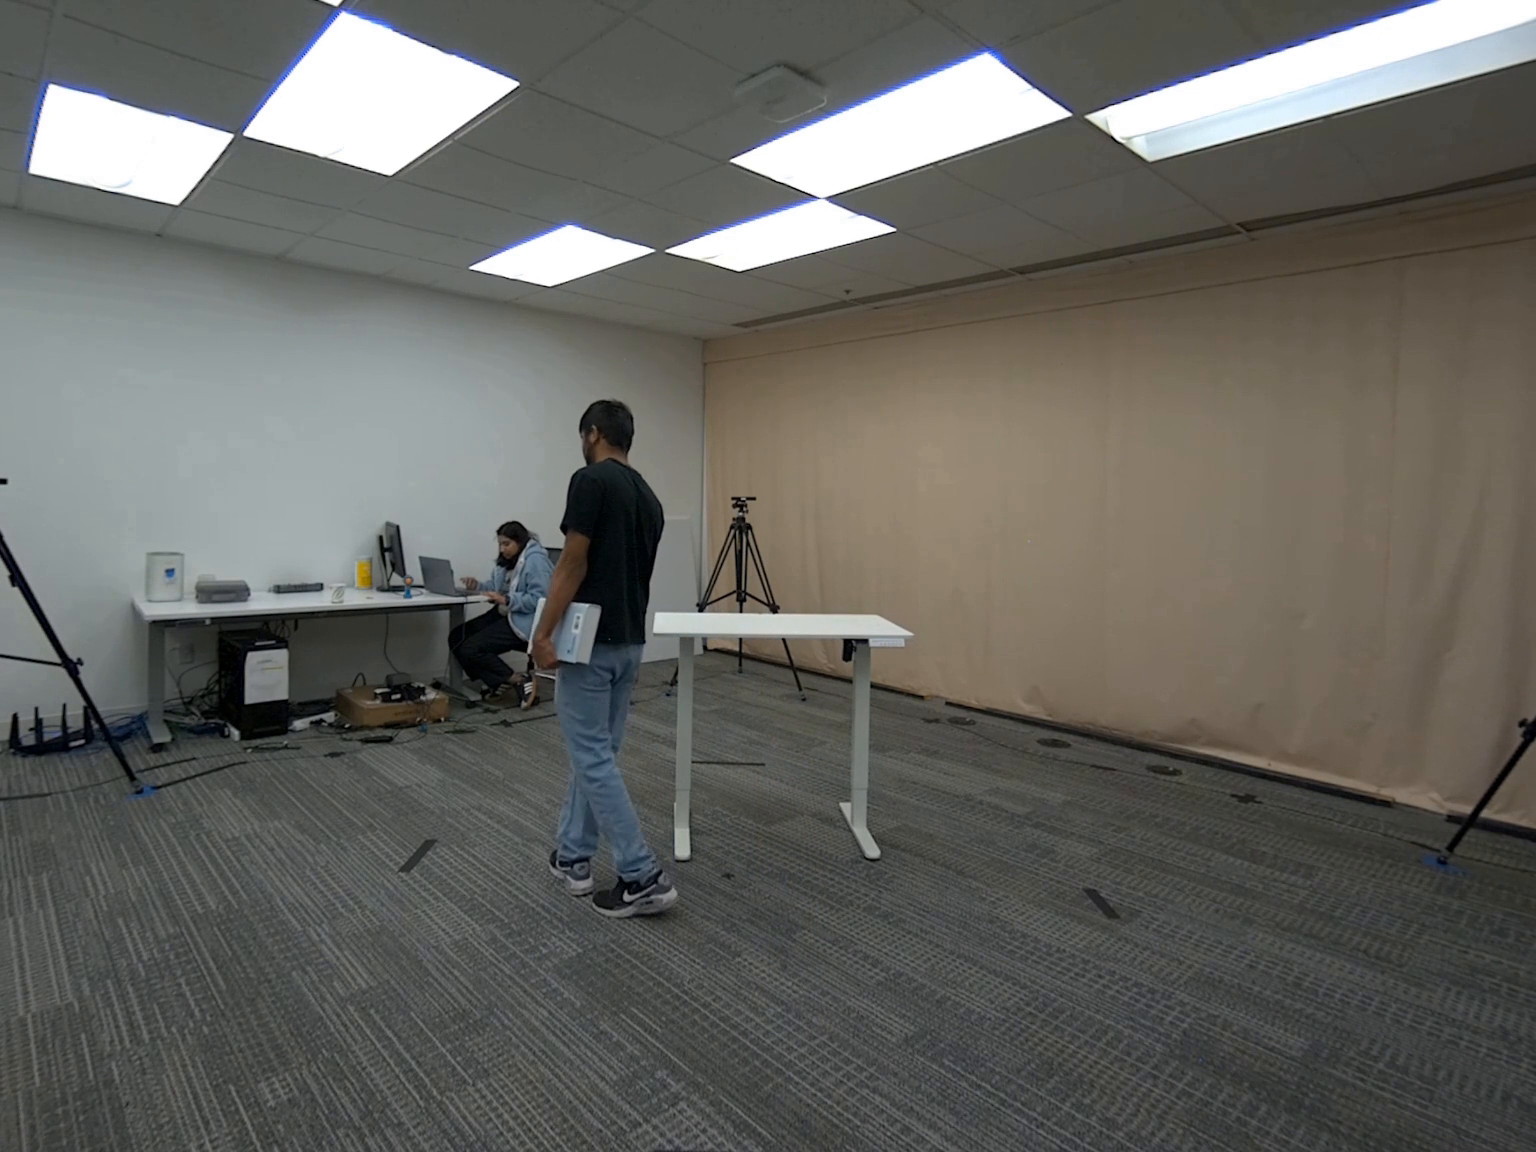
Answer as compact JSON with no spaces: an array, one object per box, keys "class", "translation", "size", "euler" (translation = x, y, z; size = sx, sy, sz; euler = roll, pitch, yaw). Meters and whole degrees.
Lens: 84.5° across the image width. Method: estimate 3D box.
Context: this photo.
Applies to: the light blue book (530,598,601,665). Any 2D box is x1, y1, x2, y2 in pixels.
[{"class":"light blue book","translation":[-0.670,0.177,2.736],"size":[0.268,0.192,0.057],"euler":[5,-10,44]}]
